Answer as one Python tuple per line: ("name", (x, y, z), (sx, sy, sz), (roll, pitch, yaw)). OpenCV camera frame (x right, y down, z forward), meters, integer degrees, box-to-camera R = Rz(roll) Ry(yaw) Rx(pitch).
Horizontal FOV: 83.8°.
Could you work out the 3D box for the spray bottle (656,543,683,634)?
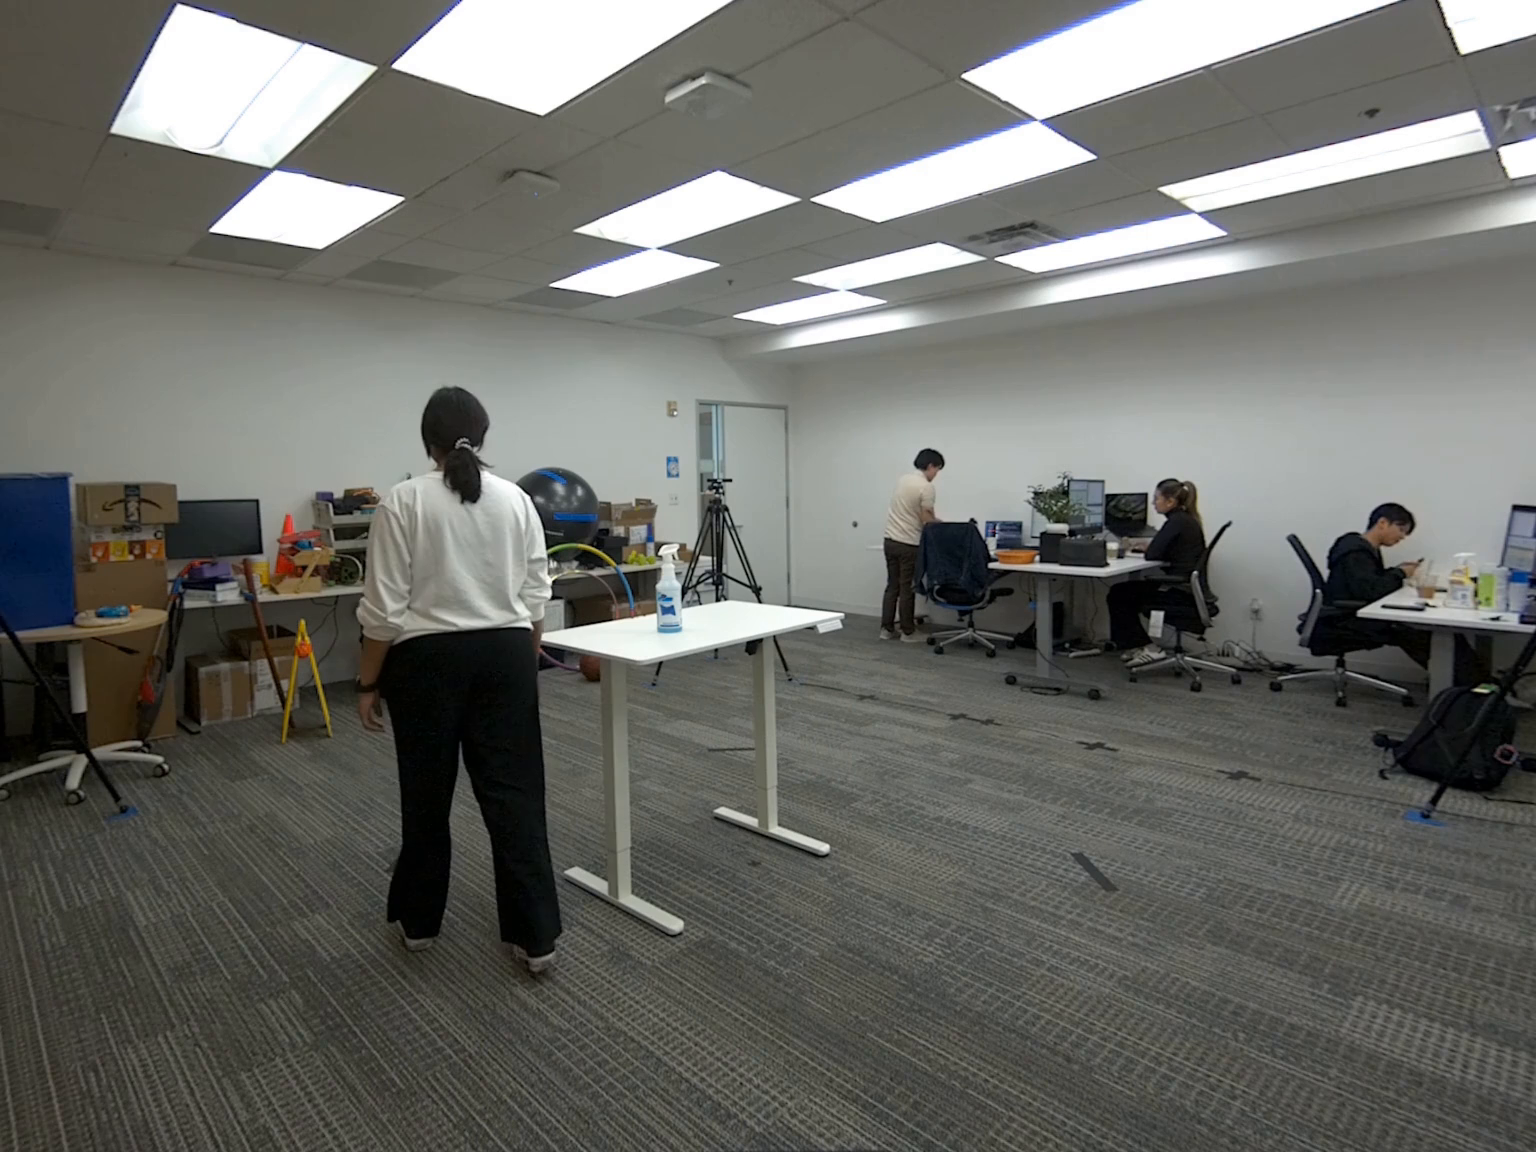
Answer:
("spray bottle", (-0.337, 0.043, 2.928), (0.088, 0.296, 0.089), (-1, 3, -25))
